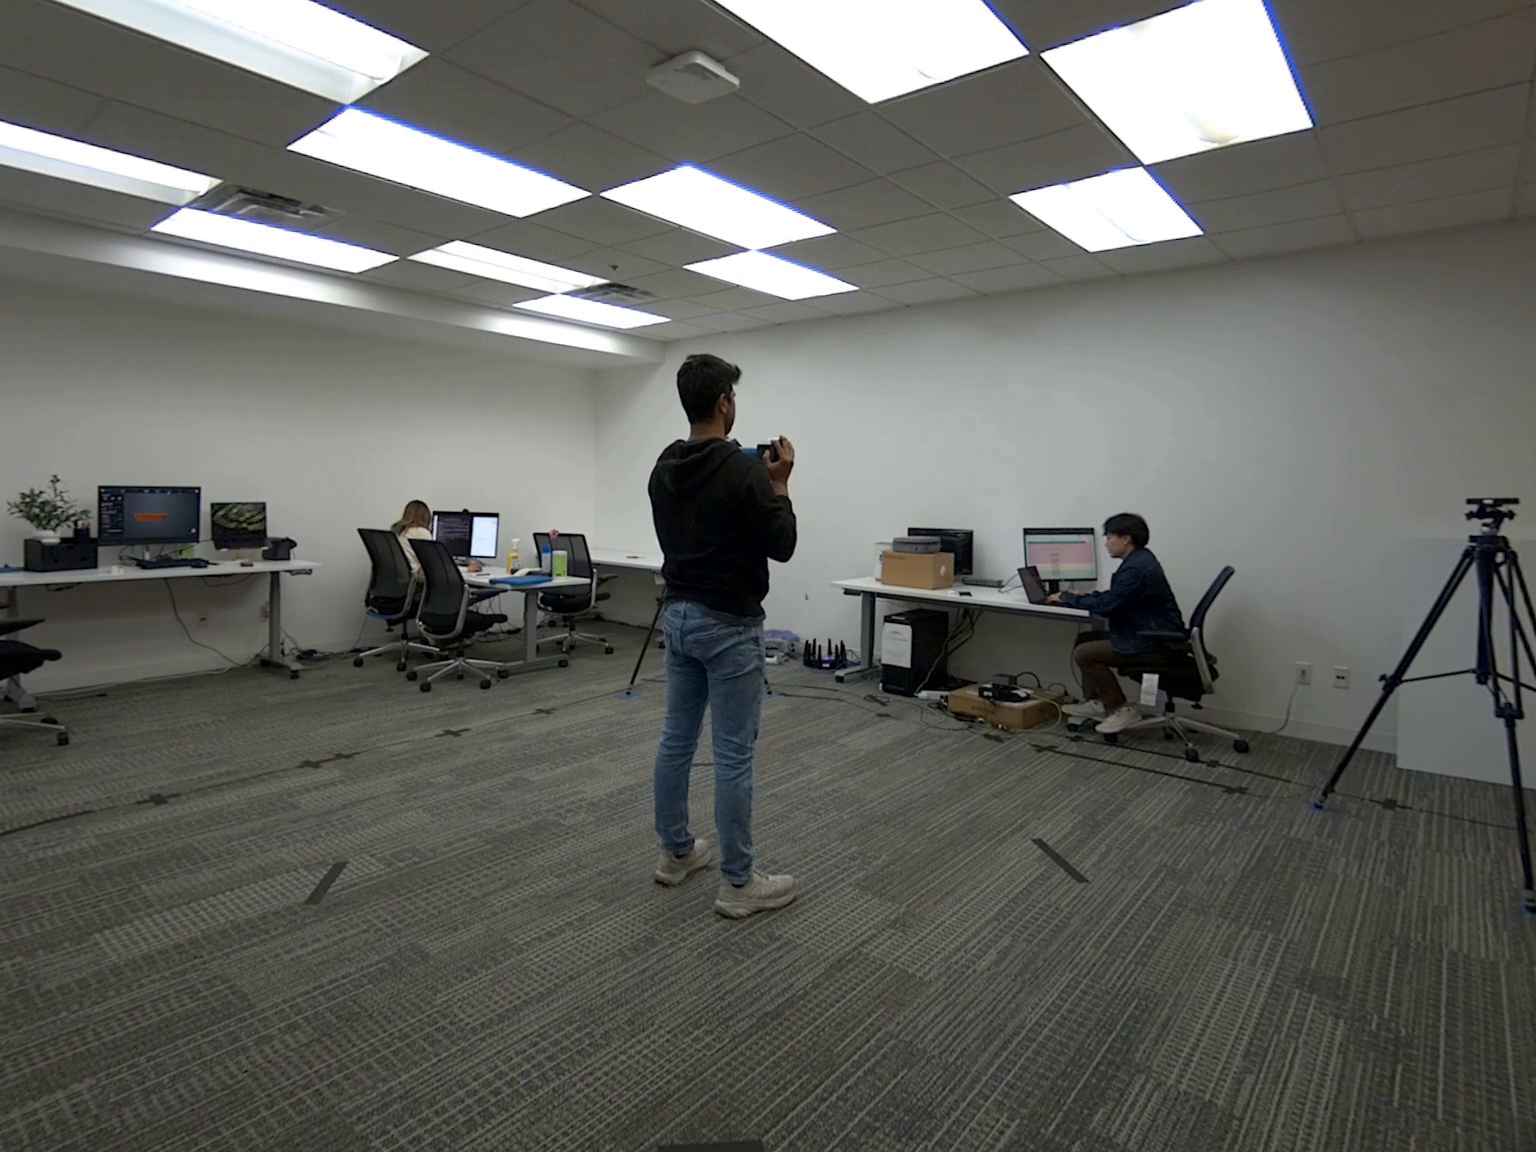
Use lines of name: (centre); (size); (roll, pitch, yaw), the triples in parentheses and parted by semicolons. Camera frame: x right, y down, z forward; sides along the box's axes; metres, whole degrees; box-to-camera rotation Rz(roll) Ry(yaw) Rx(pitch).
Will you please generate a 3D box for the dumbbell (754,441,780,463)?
dumbbell: (-0.083, -0.431, 3.021); (0.304, 0.123, 0.105); (8, 2, 44)
